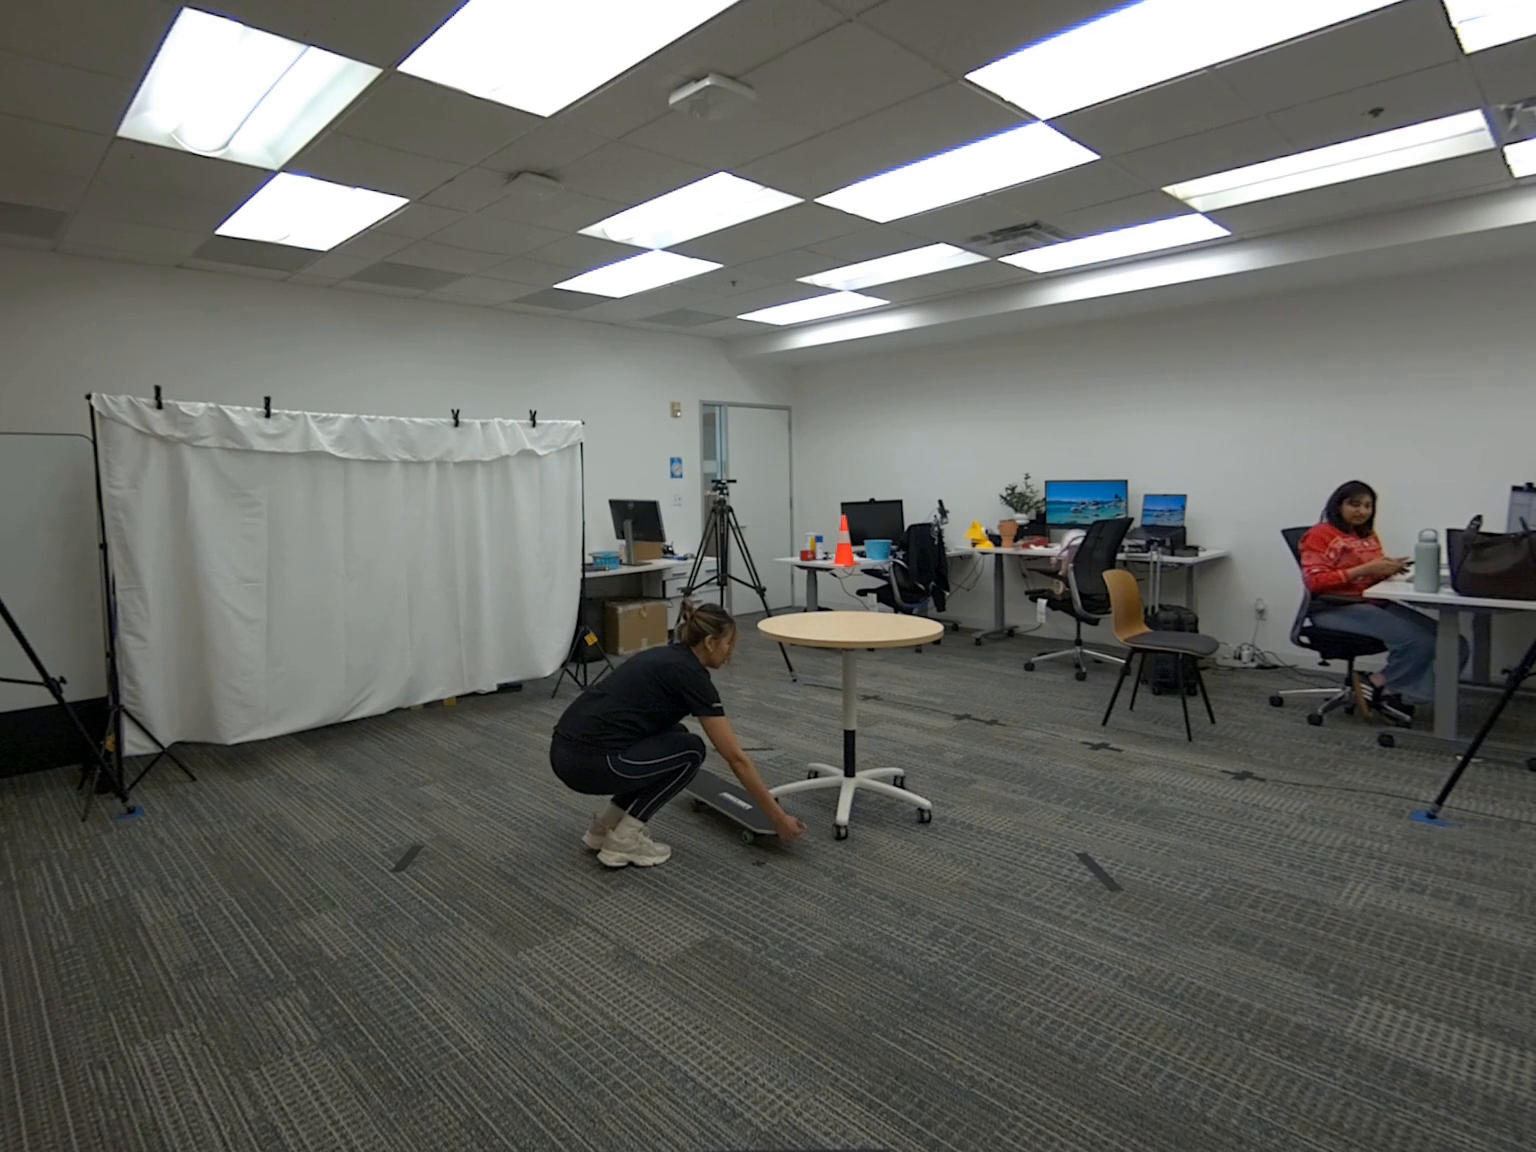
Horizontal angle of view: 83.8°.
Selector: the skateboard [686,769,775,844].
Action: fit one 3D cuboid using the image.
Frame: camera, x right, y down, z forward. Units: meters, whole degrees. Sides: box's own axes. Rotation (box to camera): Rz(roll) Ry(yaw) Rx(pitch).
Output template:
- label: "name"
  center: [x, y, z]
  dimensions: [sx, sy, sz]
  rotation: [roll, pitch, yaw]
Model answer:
- label: "skateboard"
  center: [-0.128, 0.950, 3.488]
  dimensions: [0.188, 0.110, 0.808]
  rotation: [-3, 5, -34]
